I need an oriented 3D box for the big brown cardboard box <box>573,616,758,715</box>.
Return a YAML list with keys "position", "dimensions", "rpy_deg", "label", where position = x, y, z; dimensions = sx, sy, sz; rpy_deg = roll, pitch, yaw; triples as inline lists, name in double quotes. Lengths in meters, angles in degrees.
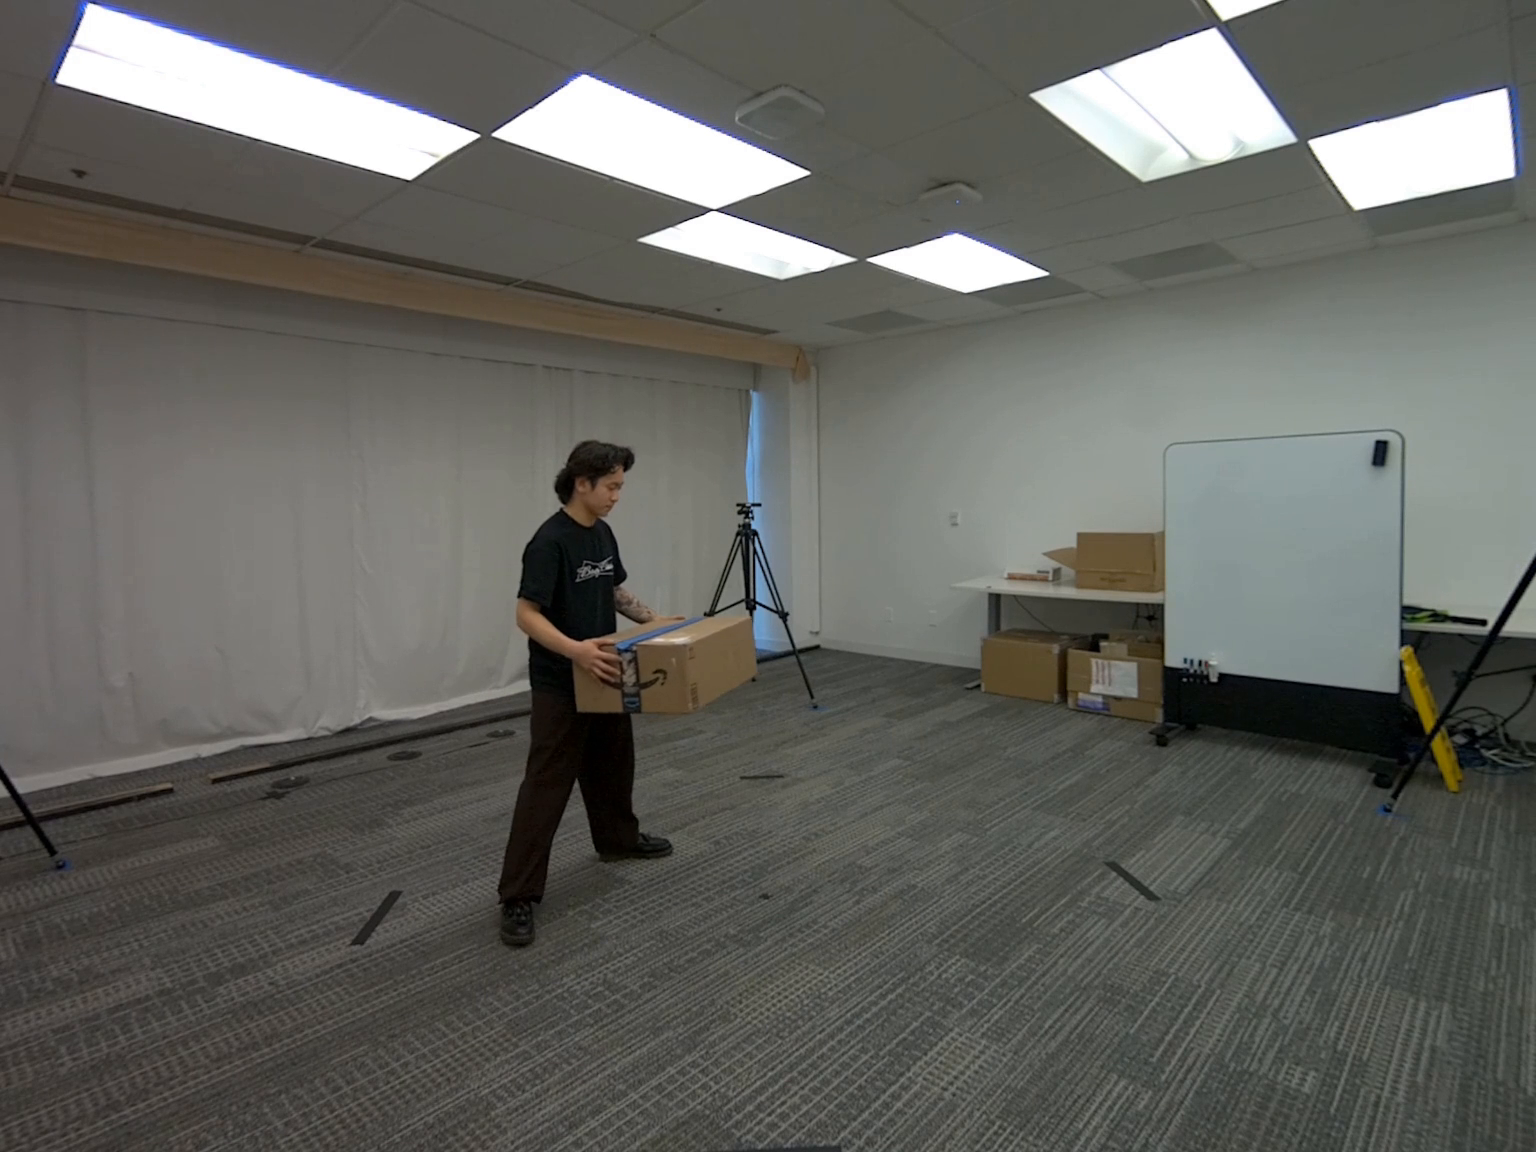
- position: [-0.339, 0.286, 2.876]
  dimensions: [0.427, 0.233, 0.577]
  rpy_deg: [-3, 4, 23]
  label: "big brown cardboard box"
